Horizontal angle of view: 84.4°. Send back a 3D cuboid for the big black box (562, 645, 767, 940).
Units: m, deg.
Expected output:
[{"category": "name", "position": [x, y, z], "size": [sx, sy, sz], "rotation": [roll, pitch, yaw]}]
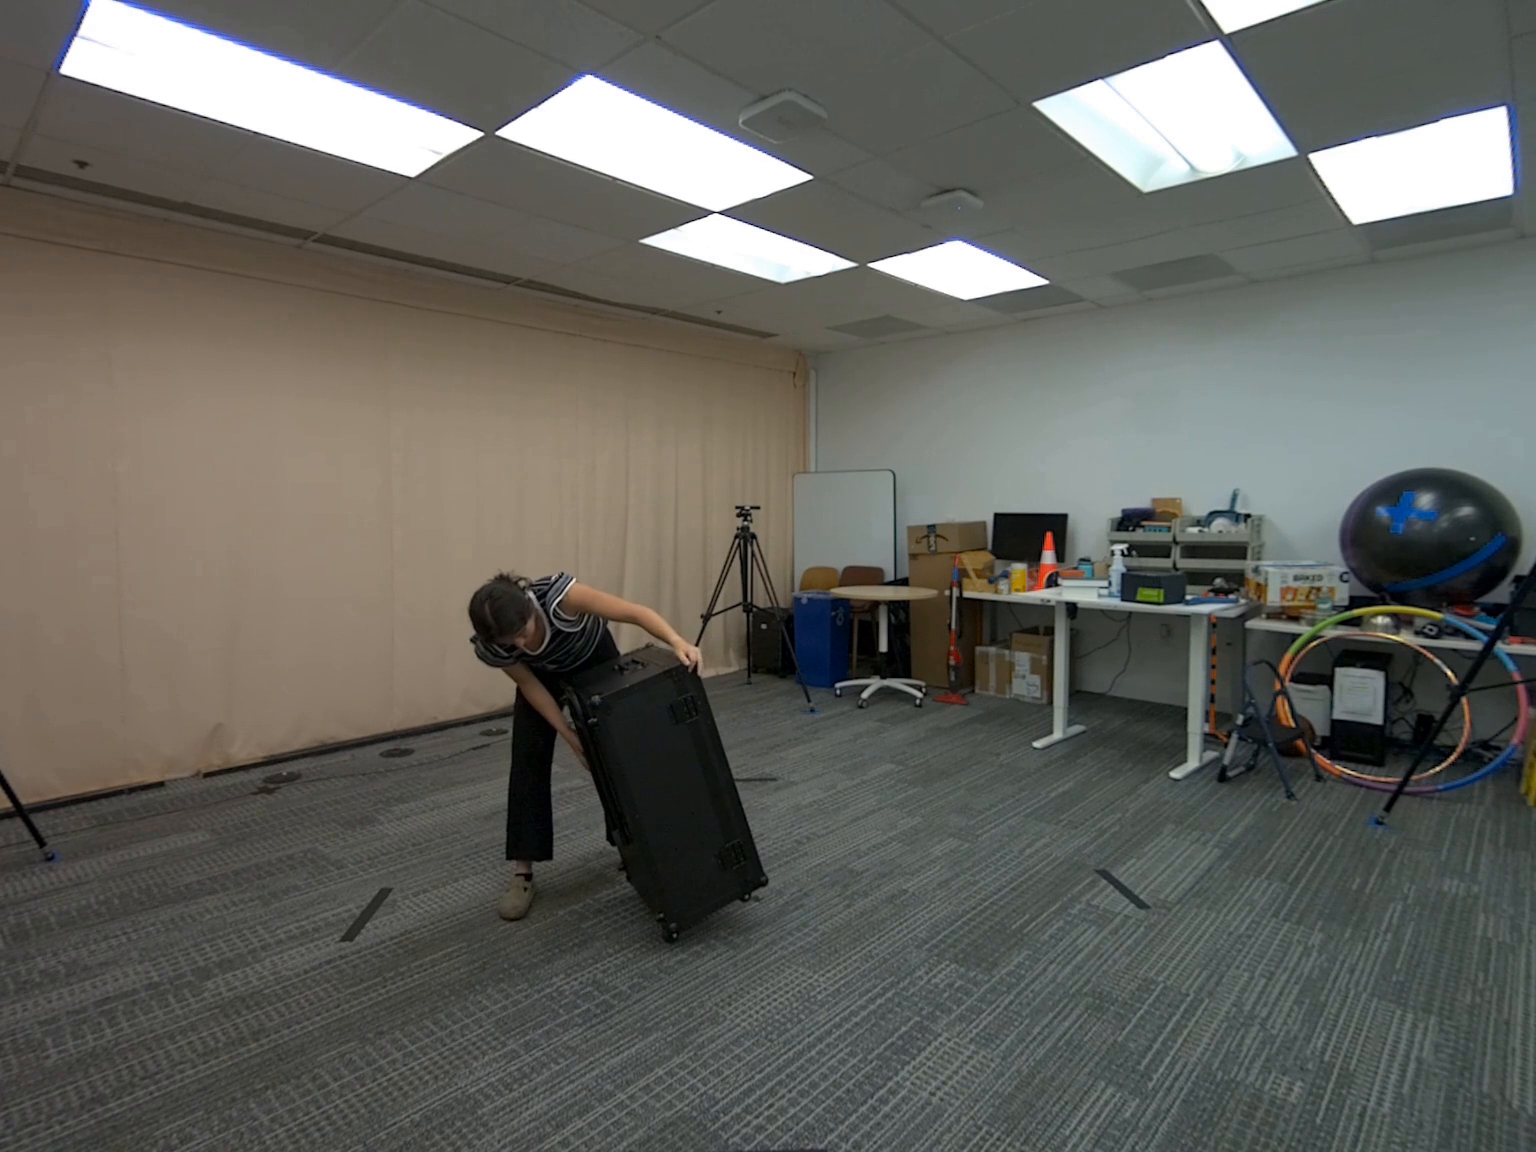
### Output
[{"category": "big black box", "position": [-0.354, 0.712, 2.831], "size": [0.390, 0.856, 0.533], "rotation": [-21, 8, -21]}]
